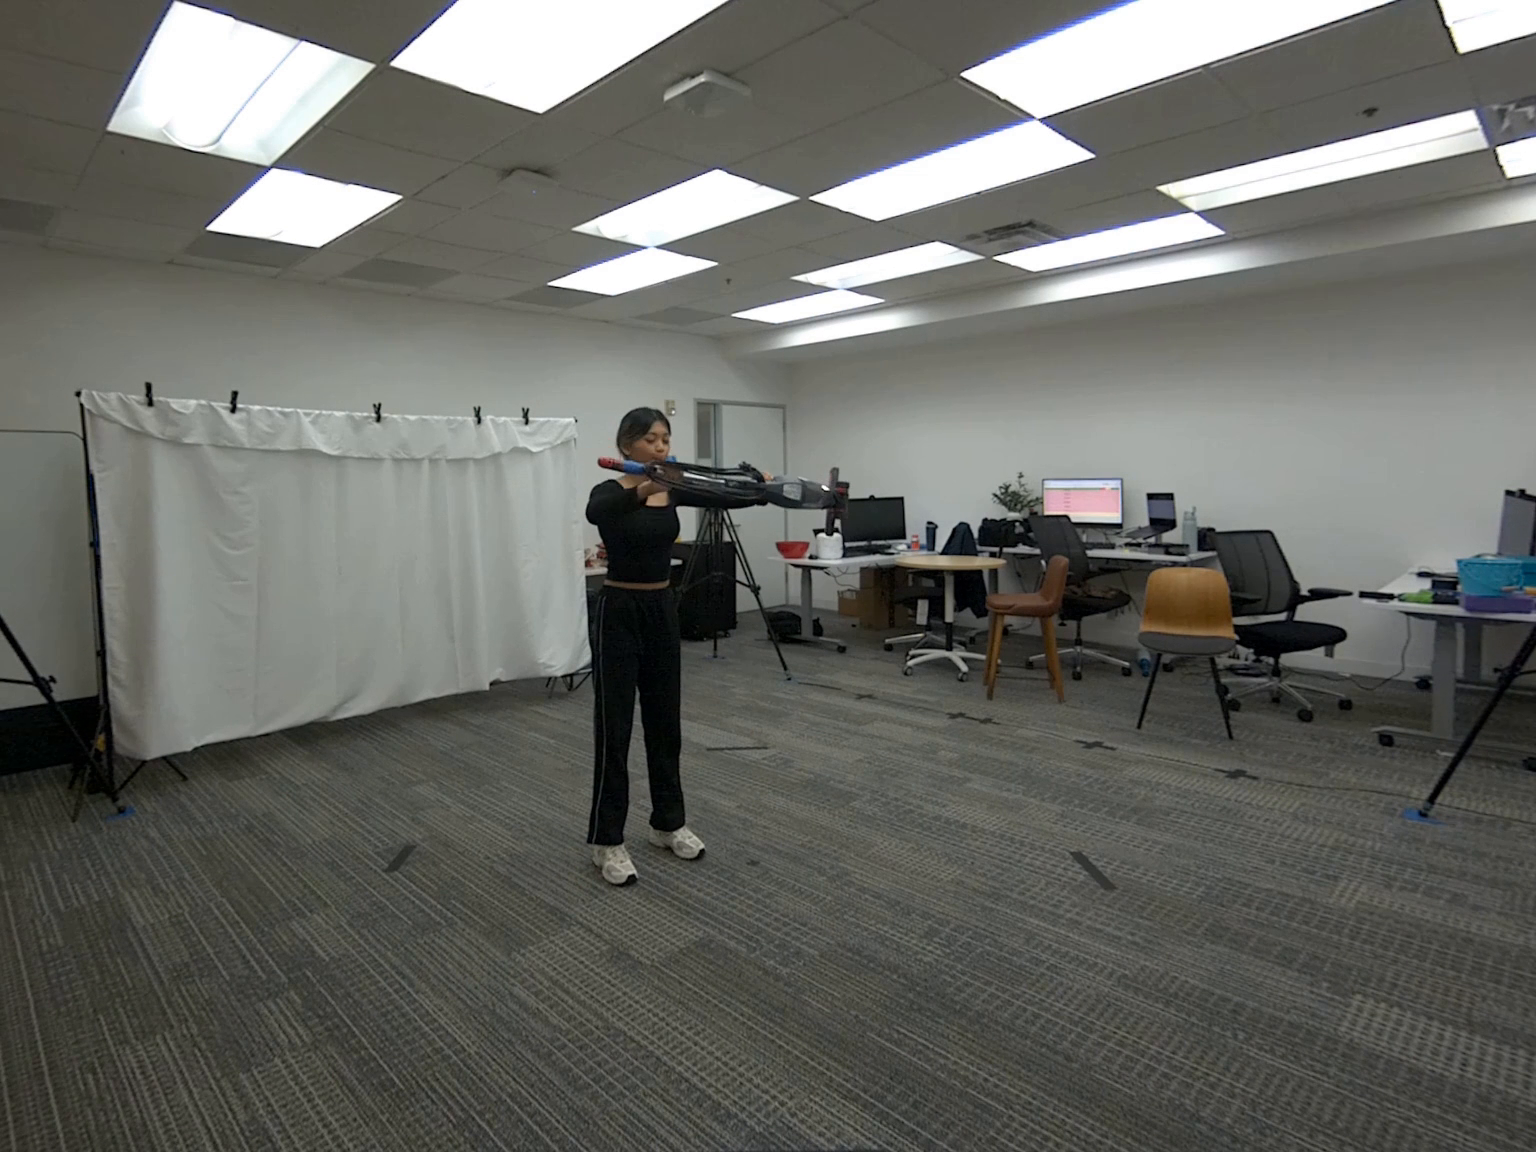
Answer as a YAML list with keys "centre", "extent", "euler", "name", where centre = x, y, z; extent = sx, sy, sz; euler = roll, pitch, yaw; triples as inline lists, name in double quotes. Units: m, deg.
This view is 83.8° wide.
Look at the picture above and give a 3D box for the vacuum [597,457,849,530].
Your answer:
- centre: [-0.104, -0.288, 2.739]
  extent: [1.017, 0.252, 0.149]
  euler: [4, 3, -45]
  name: "vacuum"
